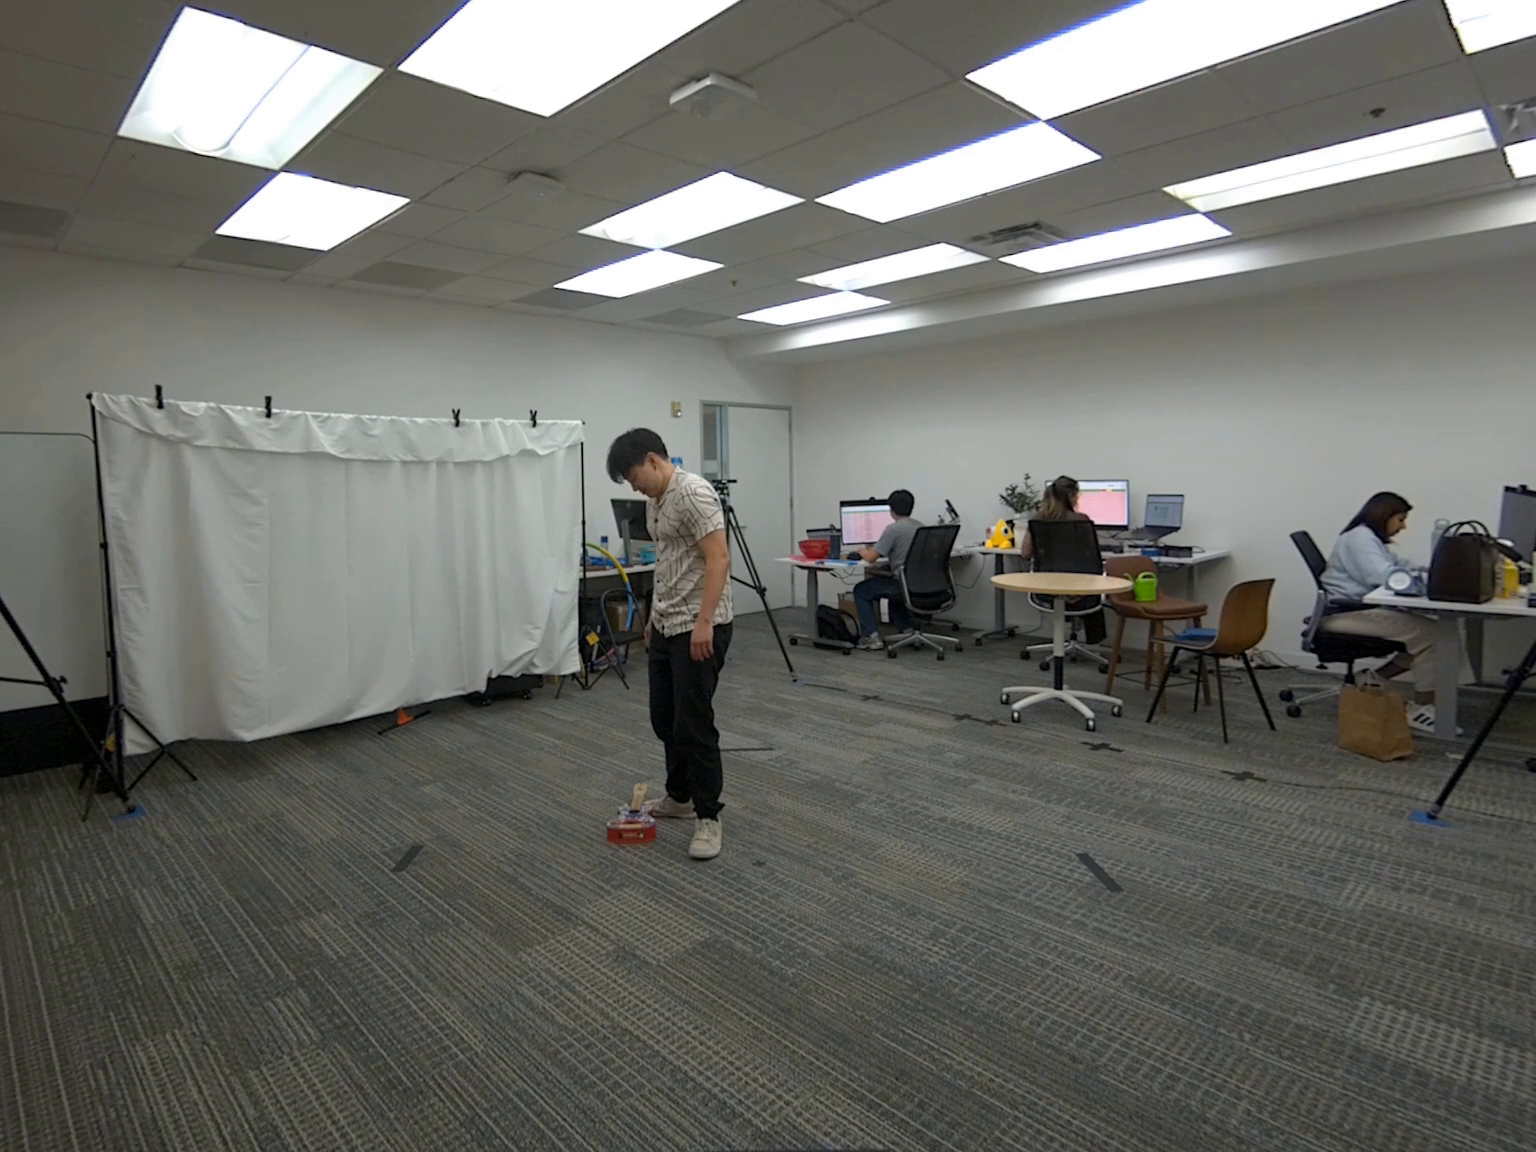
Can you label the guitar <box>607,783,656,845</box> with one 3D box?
[{"bbox_3d":[-0.515,0.973,3.544,0.194,0.070,0.497,-1,6,6],"label":"guitar"}]
